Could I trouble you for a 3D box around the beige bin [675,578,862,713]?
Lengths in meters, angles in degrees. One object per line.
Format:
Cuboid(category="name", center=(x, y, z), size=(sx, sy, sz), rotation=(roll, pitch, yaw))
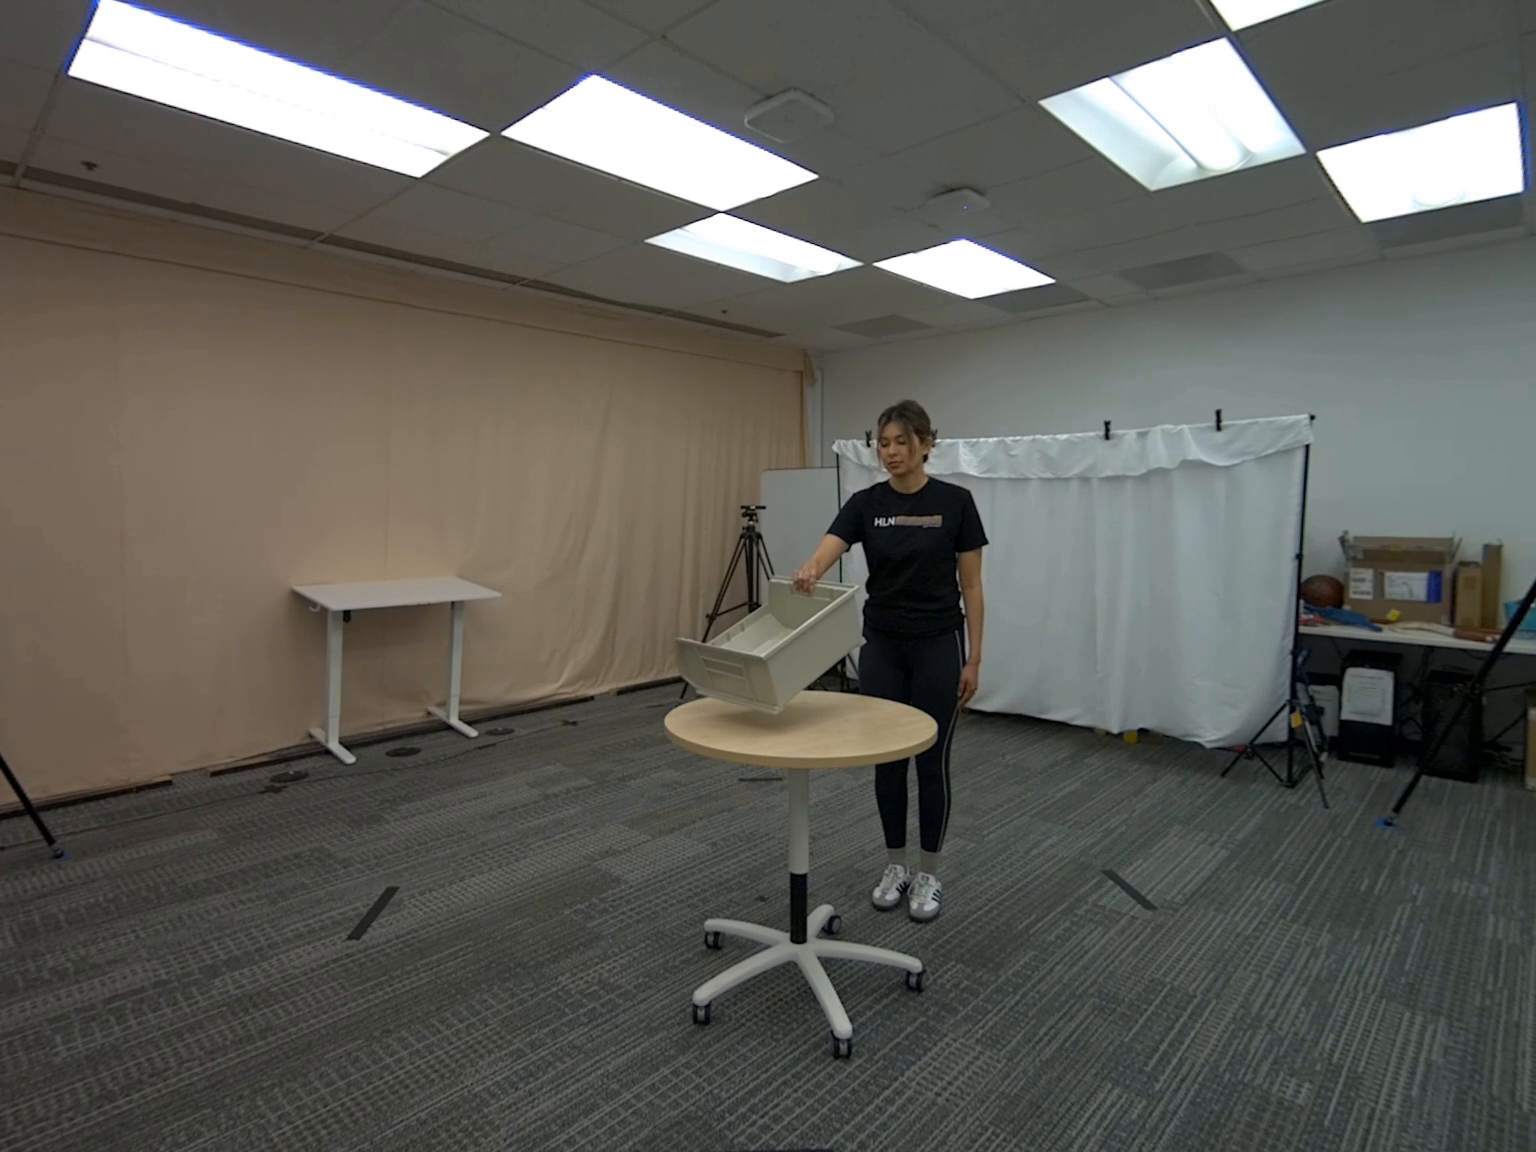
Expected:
Cuboid(category="beige bin", center=(0.008, 0.185, 2.412), size=(0.390, 0.186, 0.415), rotation=(7, 29, 45))
